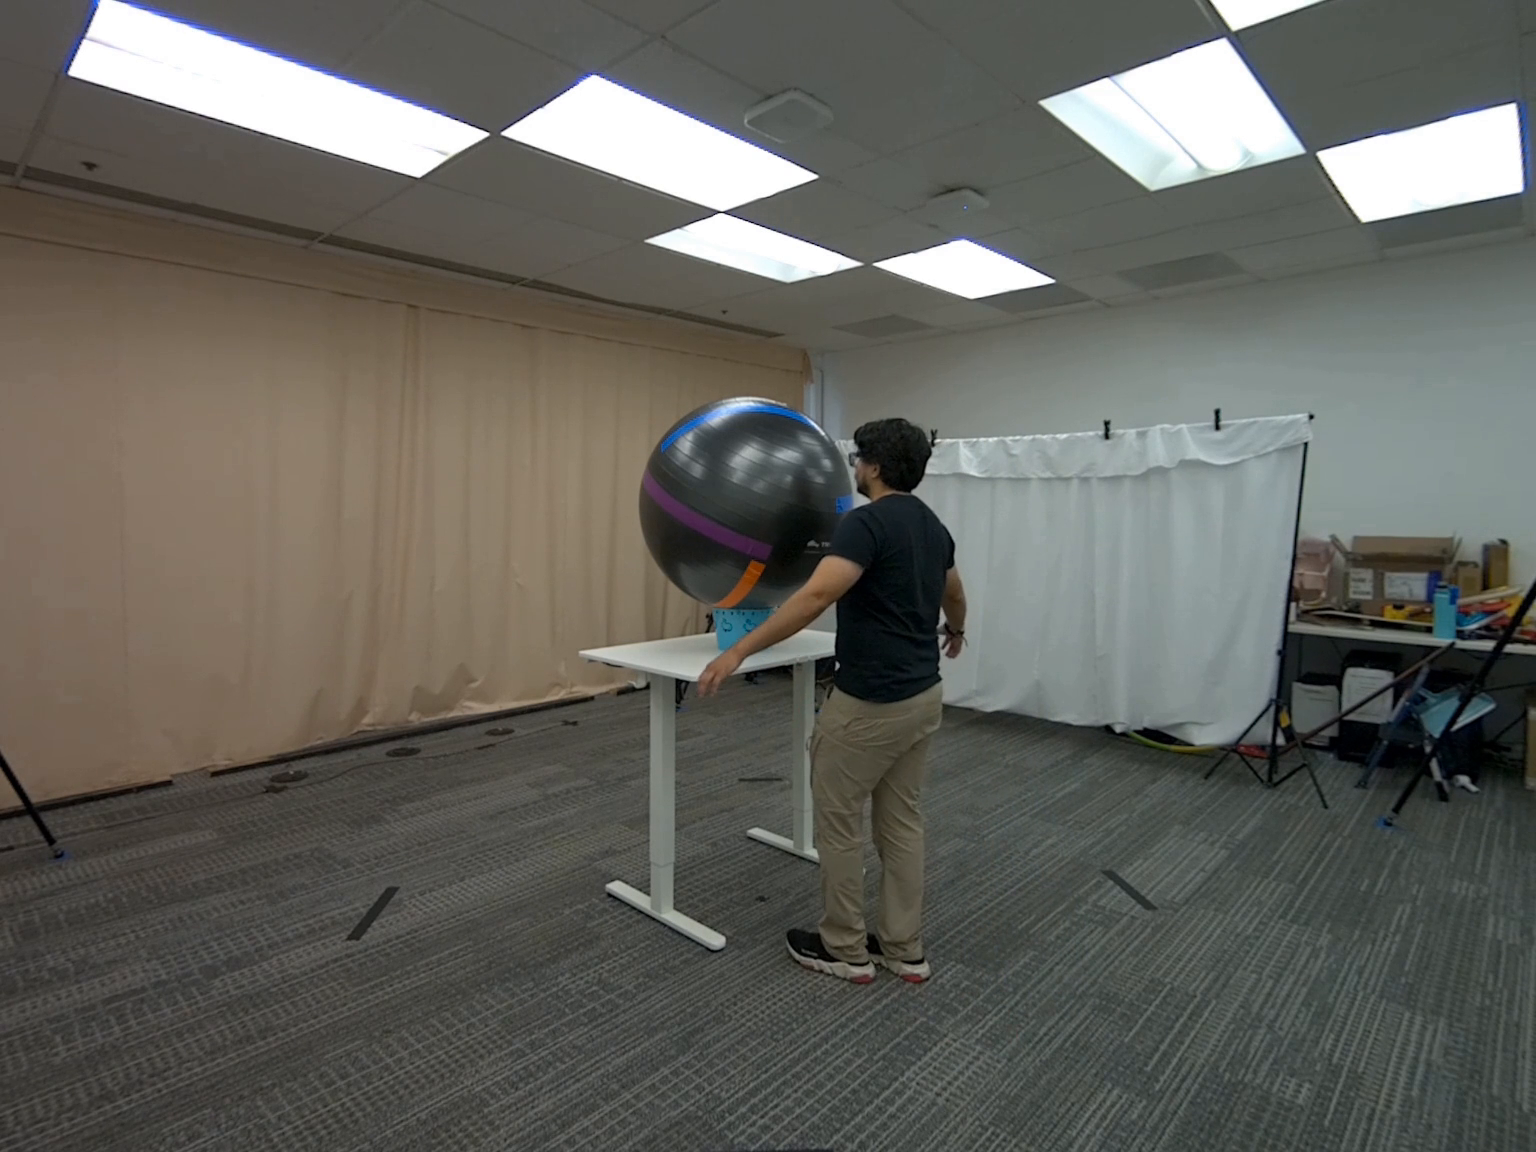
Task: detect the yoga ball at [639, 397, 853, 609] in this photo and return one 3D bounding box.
[{"bbox_3d":[-0.072,-0.249,2.993,0.757,0.756,0.760,0,4,-2],"label":"yoga ball"}]
